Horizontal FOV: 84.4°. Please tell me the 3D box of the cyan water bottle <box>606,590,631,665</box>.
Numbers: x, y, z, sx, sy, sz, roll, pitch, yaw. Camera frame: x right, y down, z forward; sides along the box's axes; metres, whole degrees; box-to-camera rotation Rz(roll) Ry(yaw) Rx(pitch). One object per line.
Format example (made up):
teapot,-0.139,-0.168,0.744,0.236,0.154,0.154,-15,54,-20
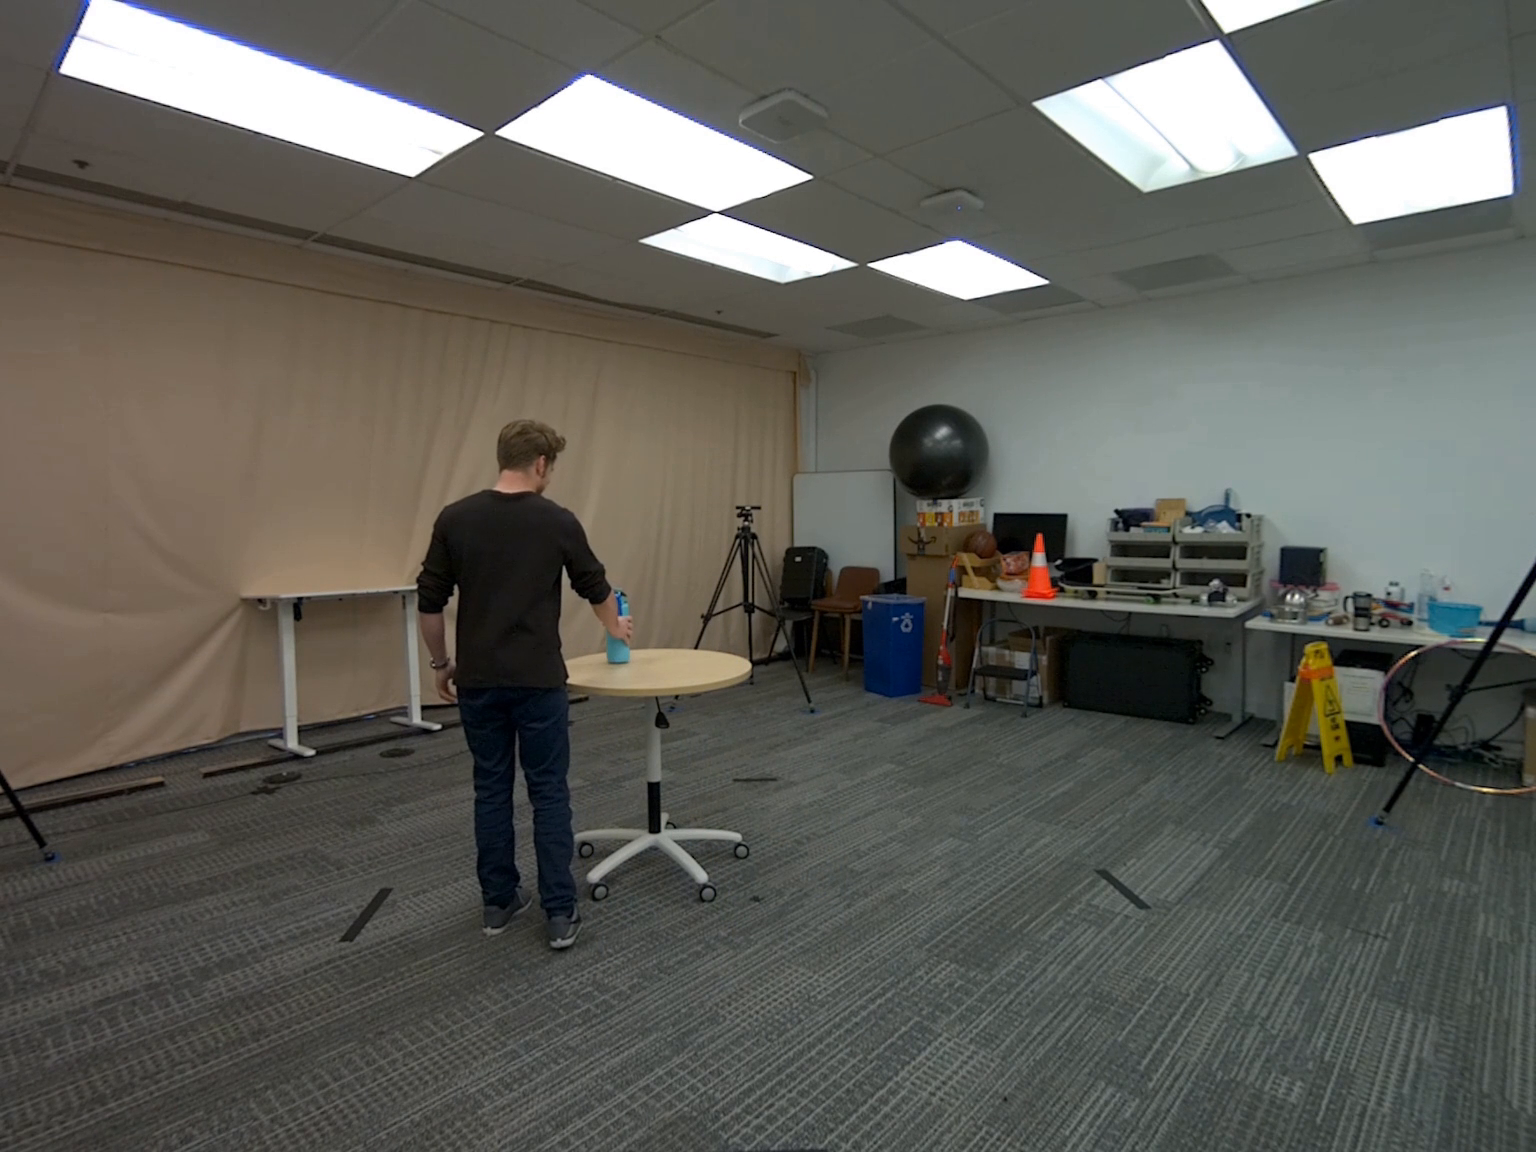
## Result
cyan water bottle,-0.586,0.193,3.306,0.092,0.282,0.093,0,4,-2
